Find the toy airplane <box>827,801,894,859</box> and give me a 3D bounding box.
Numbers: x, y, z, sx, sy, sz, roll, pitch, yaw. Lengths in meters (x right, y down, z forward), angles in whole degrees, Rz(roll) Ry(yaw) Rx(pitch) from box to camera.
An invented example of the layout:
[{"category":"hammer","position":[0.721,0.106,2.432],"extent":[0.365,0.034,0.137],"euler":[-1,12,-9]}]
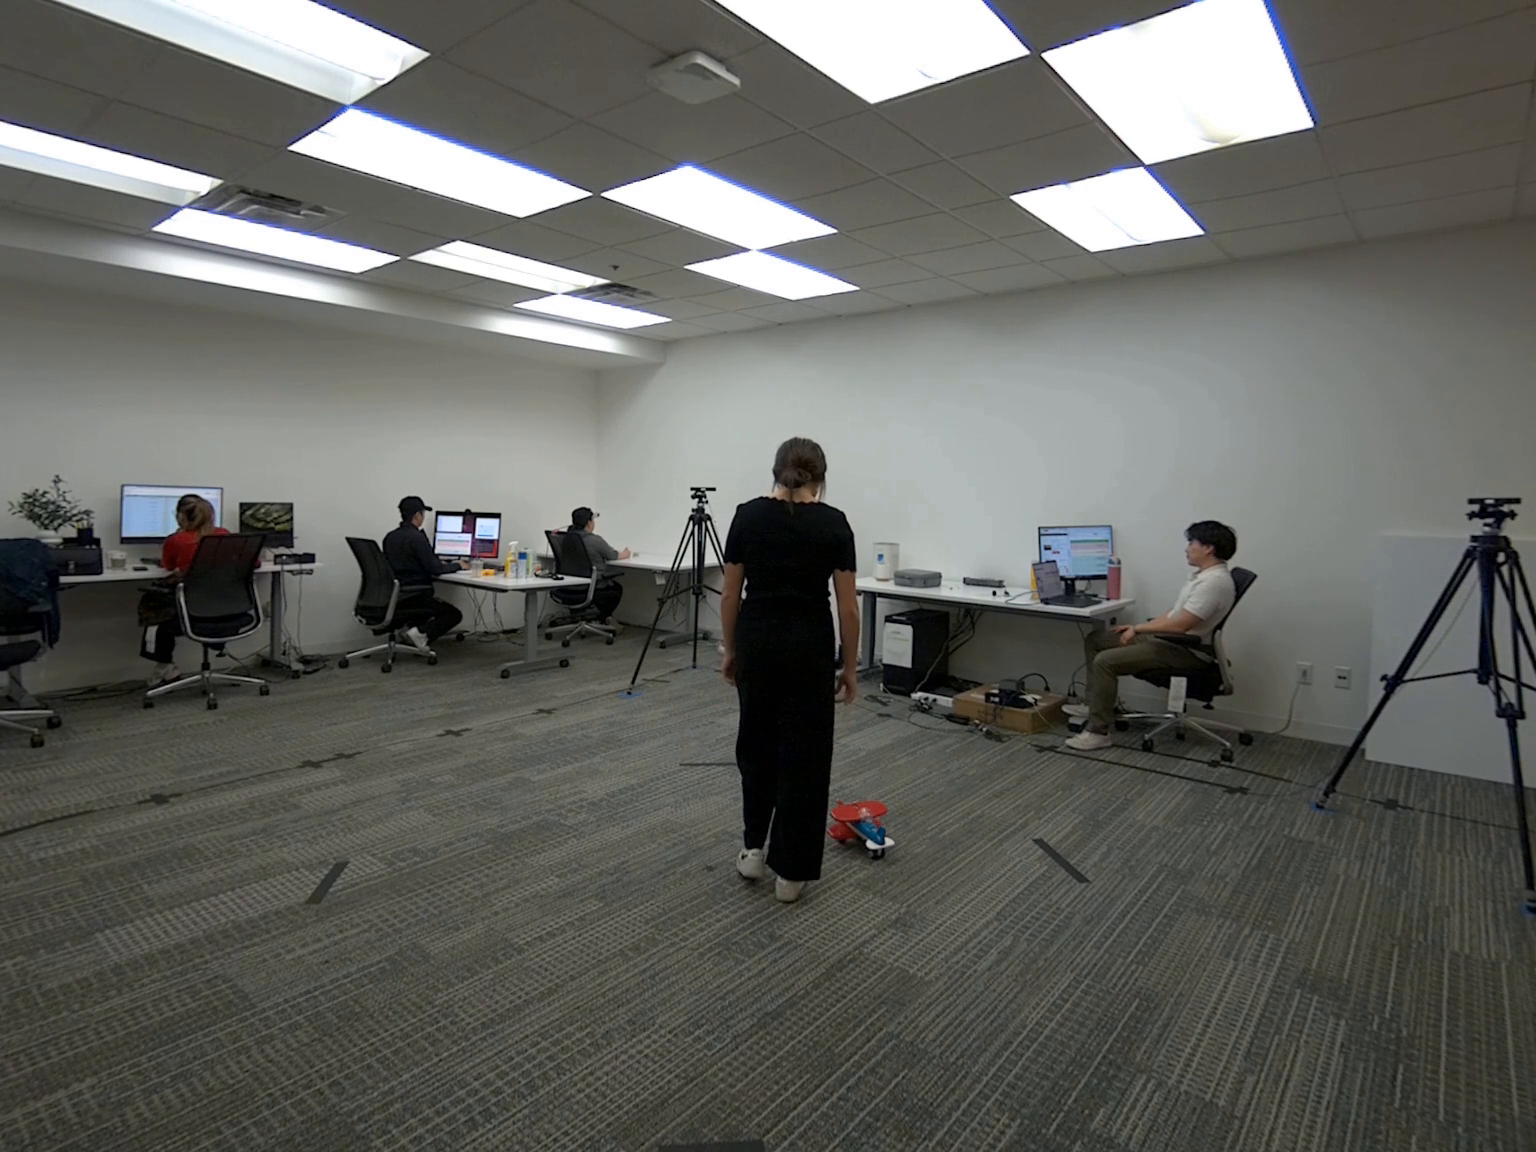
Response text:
[{"category":"toy airplane","position":[0.376,0.982,3.327],"extent":[0.267,0.156,0.244],"euler":[3,4,32]}]
